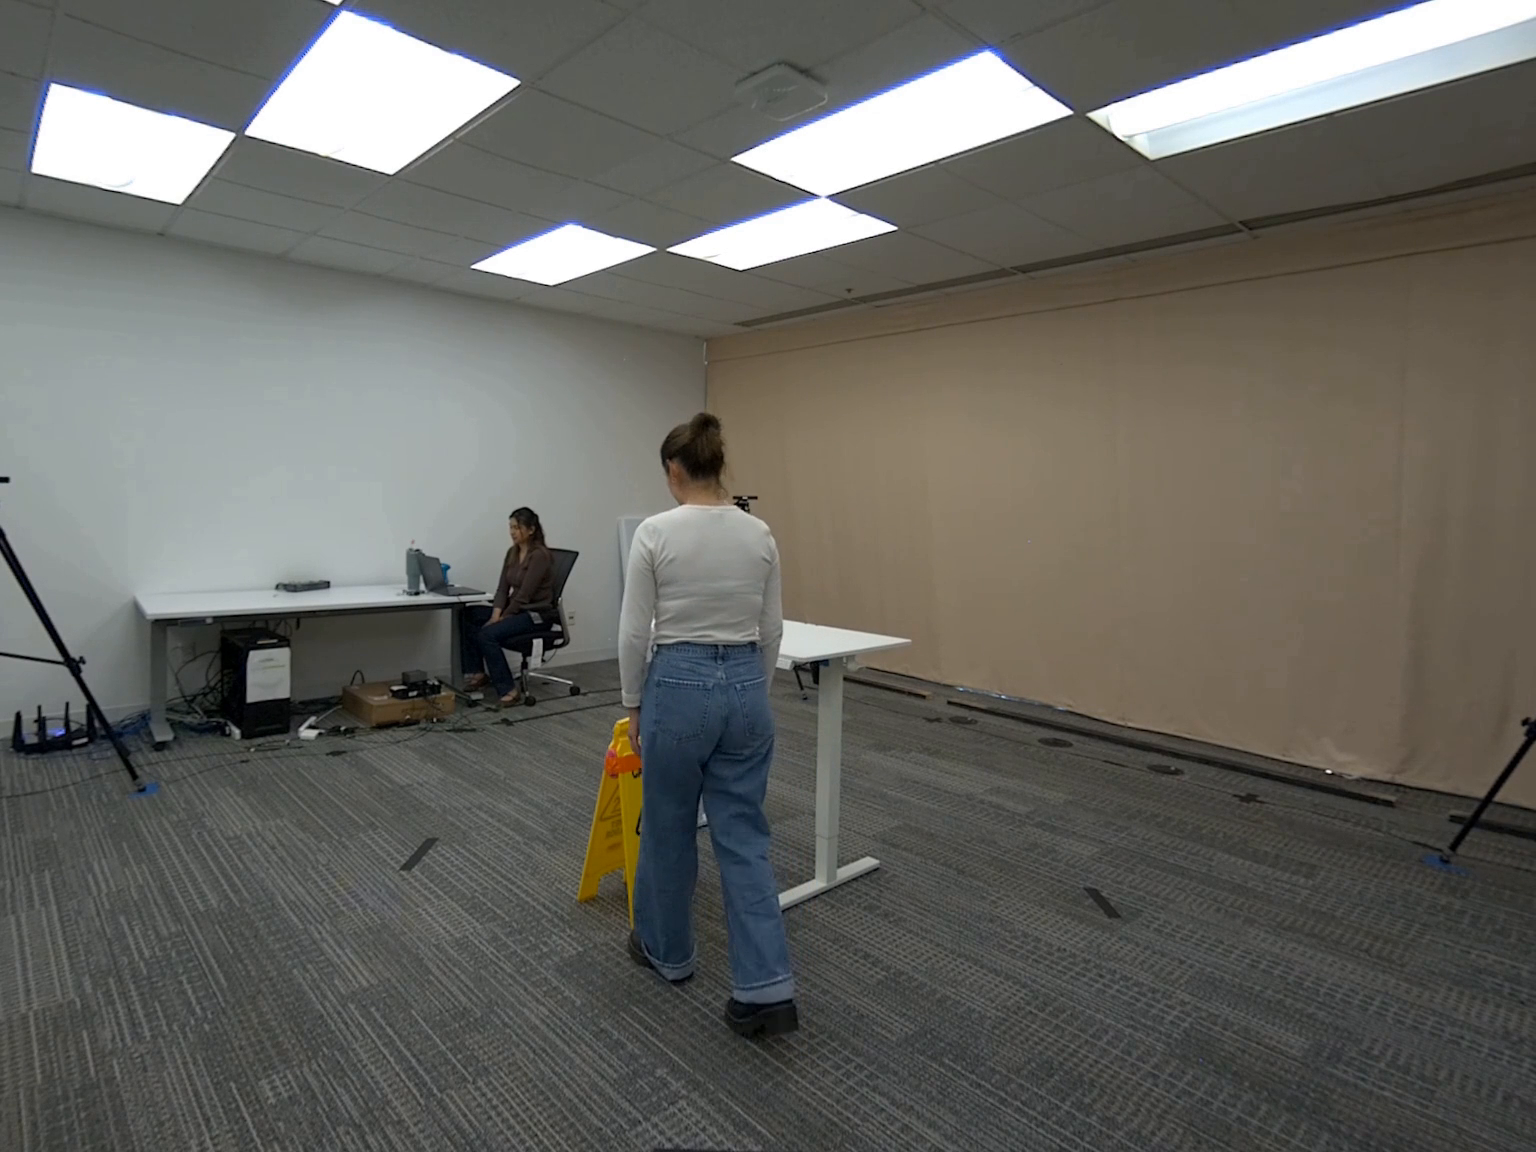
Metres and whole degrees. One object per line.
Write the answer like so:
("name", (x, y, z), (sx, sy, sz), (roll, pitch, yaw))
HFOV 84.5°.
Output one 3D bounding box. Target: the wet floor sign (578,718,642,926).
("wet floor sign", (-0.449, 0.800, 2.852), (0.297, 0.644, 0.276), (4, 4, 40))
